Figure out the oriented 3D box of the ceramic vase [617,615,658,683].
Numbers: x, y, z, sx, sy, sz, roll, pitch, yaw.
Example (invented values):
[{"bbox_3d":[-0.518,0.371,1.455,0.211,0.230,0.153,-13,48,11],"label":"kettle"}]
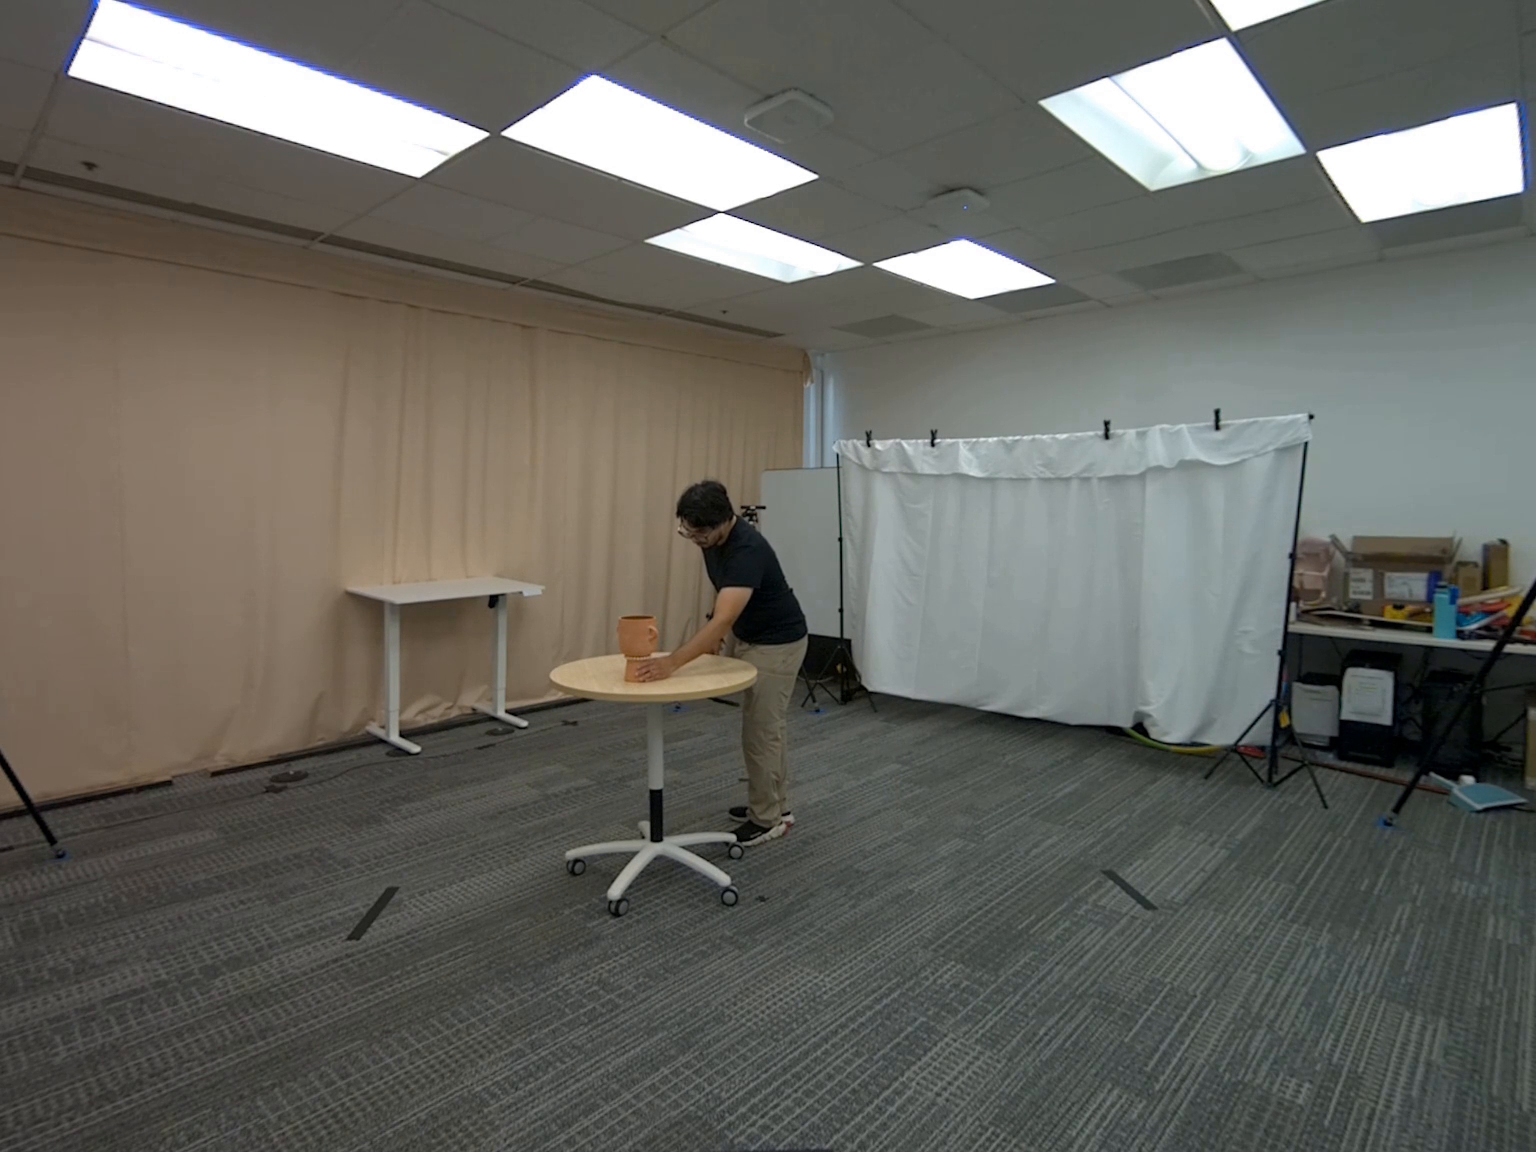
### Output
[{"bbox_3d":[-0.460,0.258,2.966,0.133,0.219,0.161,-1,4,-12],"label":"ceramic vase"}]
